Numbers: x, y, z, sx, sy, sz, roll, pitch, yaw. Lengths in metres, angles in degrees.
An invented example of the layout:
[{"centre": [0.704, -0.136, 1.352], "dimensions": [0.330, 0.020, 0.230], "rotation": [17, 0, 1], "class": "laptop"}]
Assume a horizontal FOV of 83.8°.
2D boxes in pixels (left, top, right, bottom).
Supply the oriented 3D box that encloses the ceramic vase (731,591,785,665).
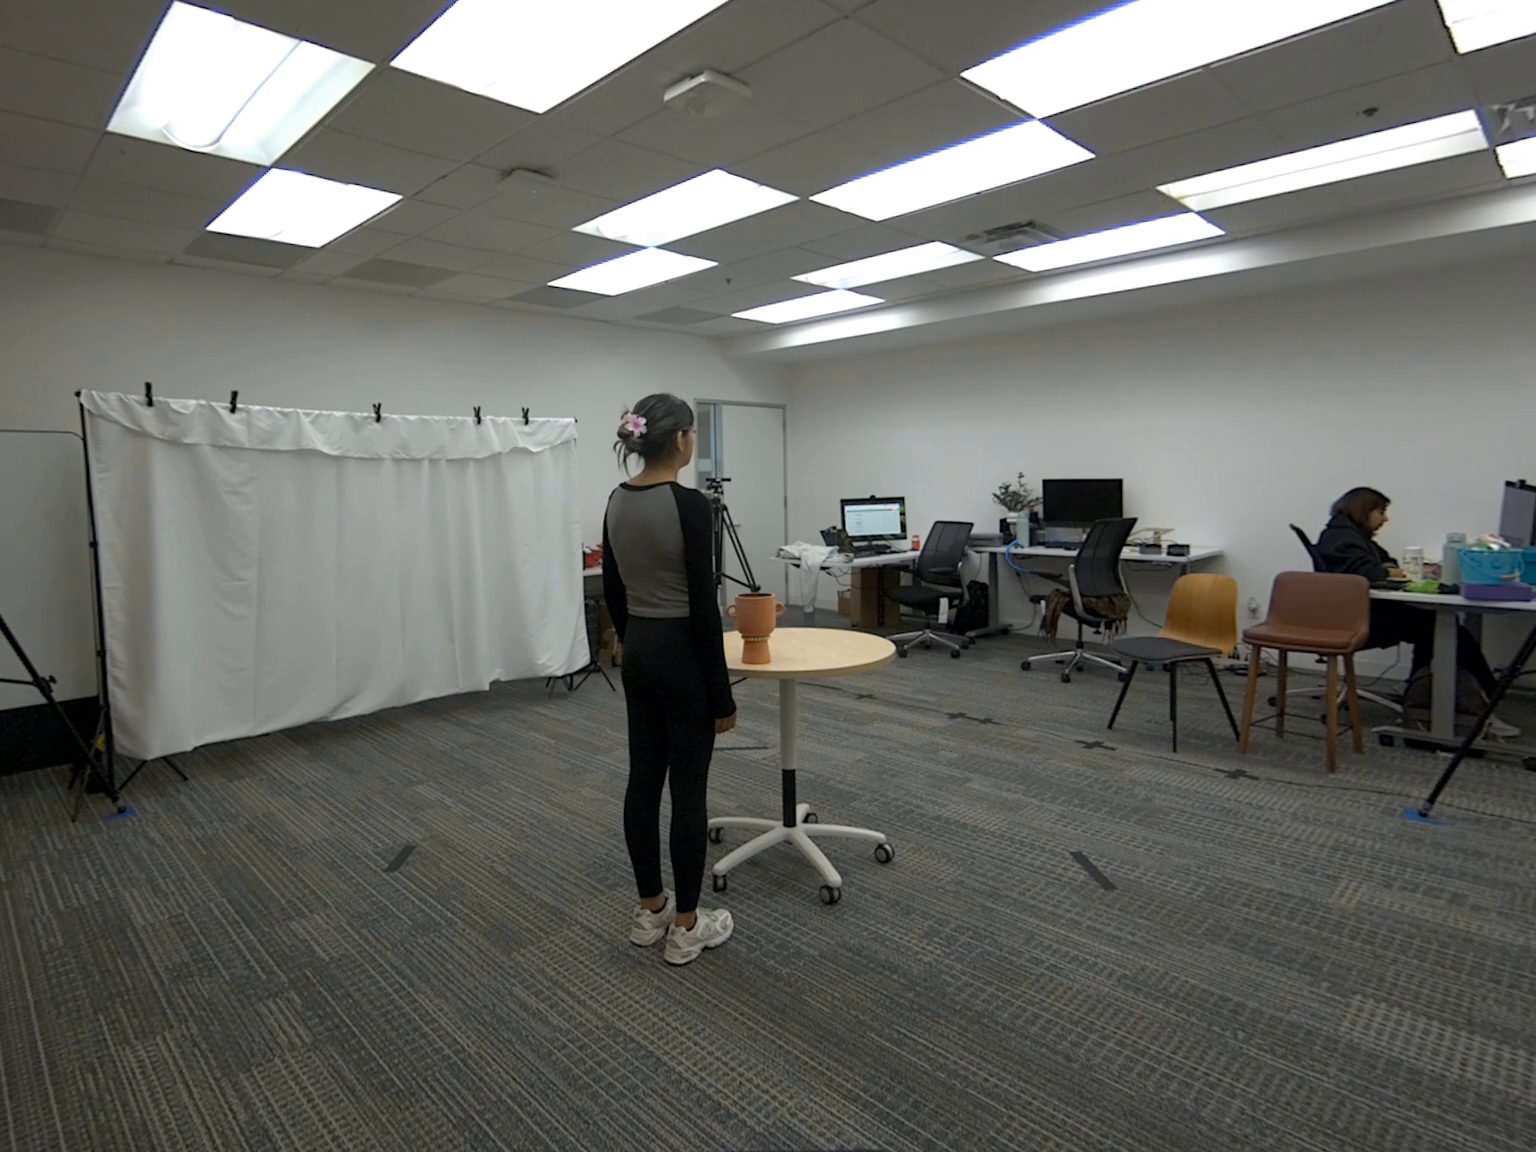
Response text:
[{"centre": [-0.033, 0.173, 2.813], "dimensions": [0.163, 0.219, 0.131], "rotation": [3, 5, 30], "class": "ceramic vase"}]
